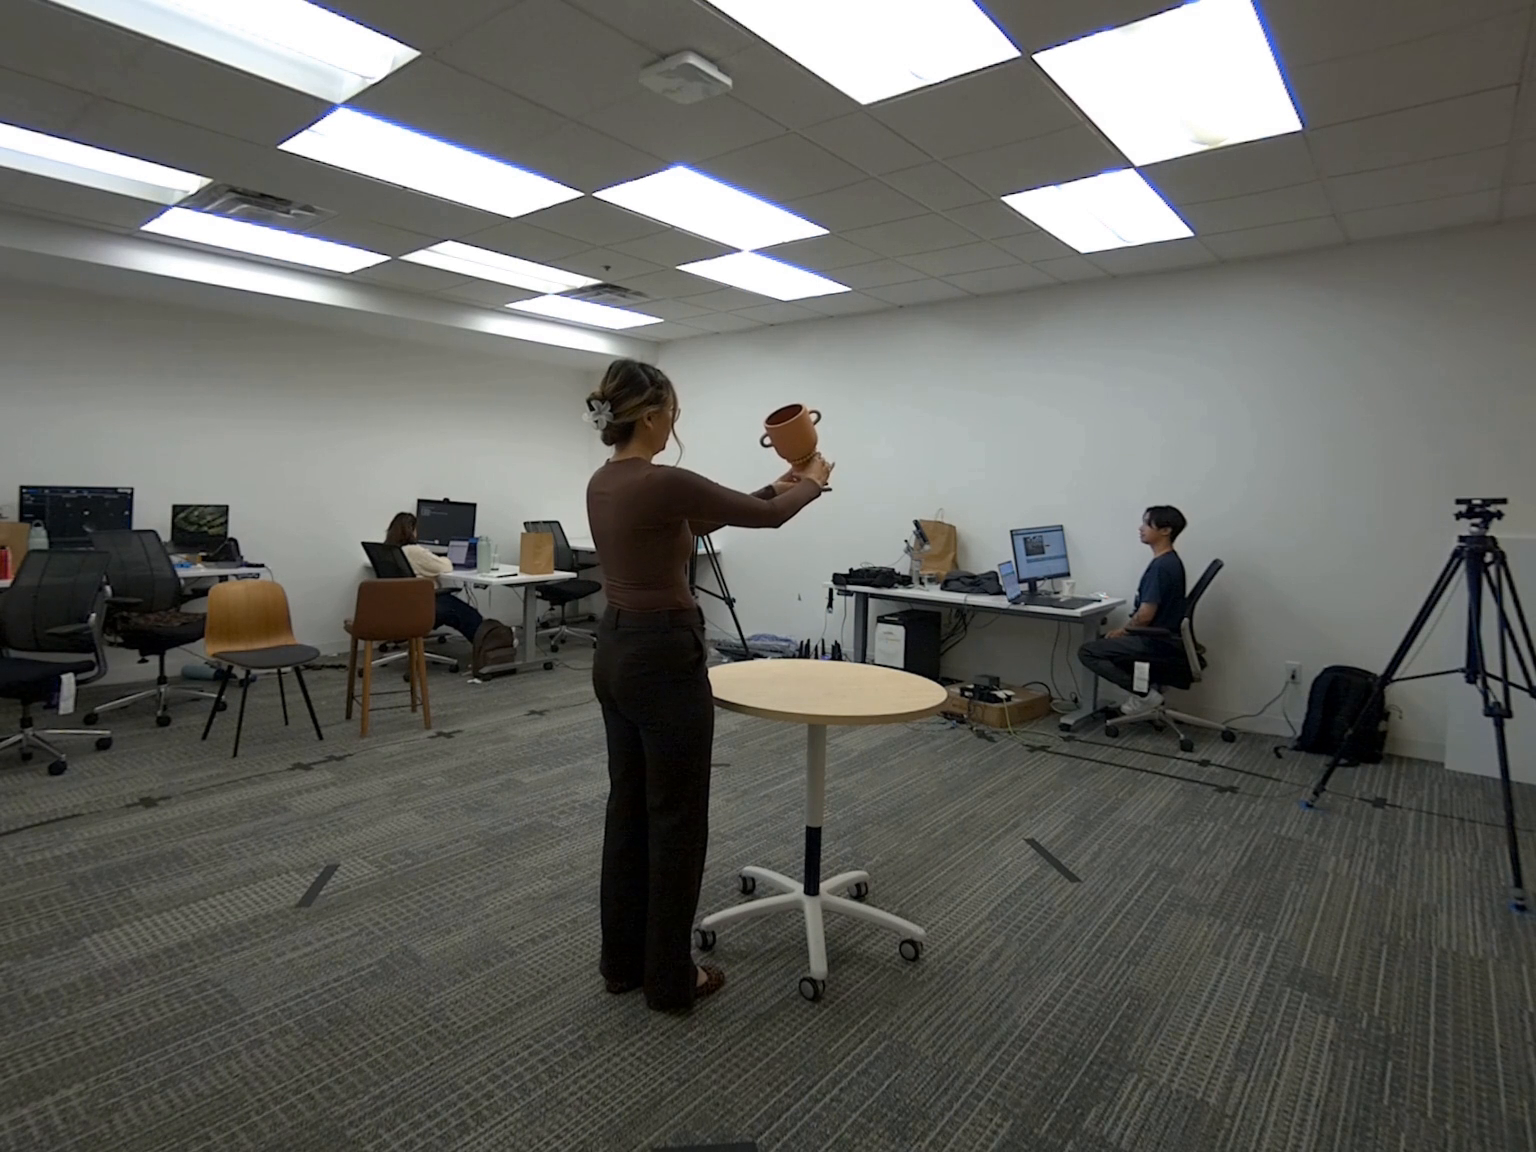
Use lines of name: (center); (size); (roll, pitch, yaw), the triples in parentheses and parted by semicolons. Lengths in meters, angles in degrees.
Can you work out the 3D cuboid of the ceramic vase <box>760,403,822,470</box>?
ceramic vase: (0.081, -0.394, 2.540); (0.163, 0.213, 0.135); (-8, 33, 34)
